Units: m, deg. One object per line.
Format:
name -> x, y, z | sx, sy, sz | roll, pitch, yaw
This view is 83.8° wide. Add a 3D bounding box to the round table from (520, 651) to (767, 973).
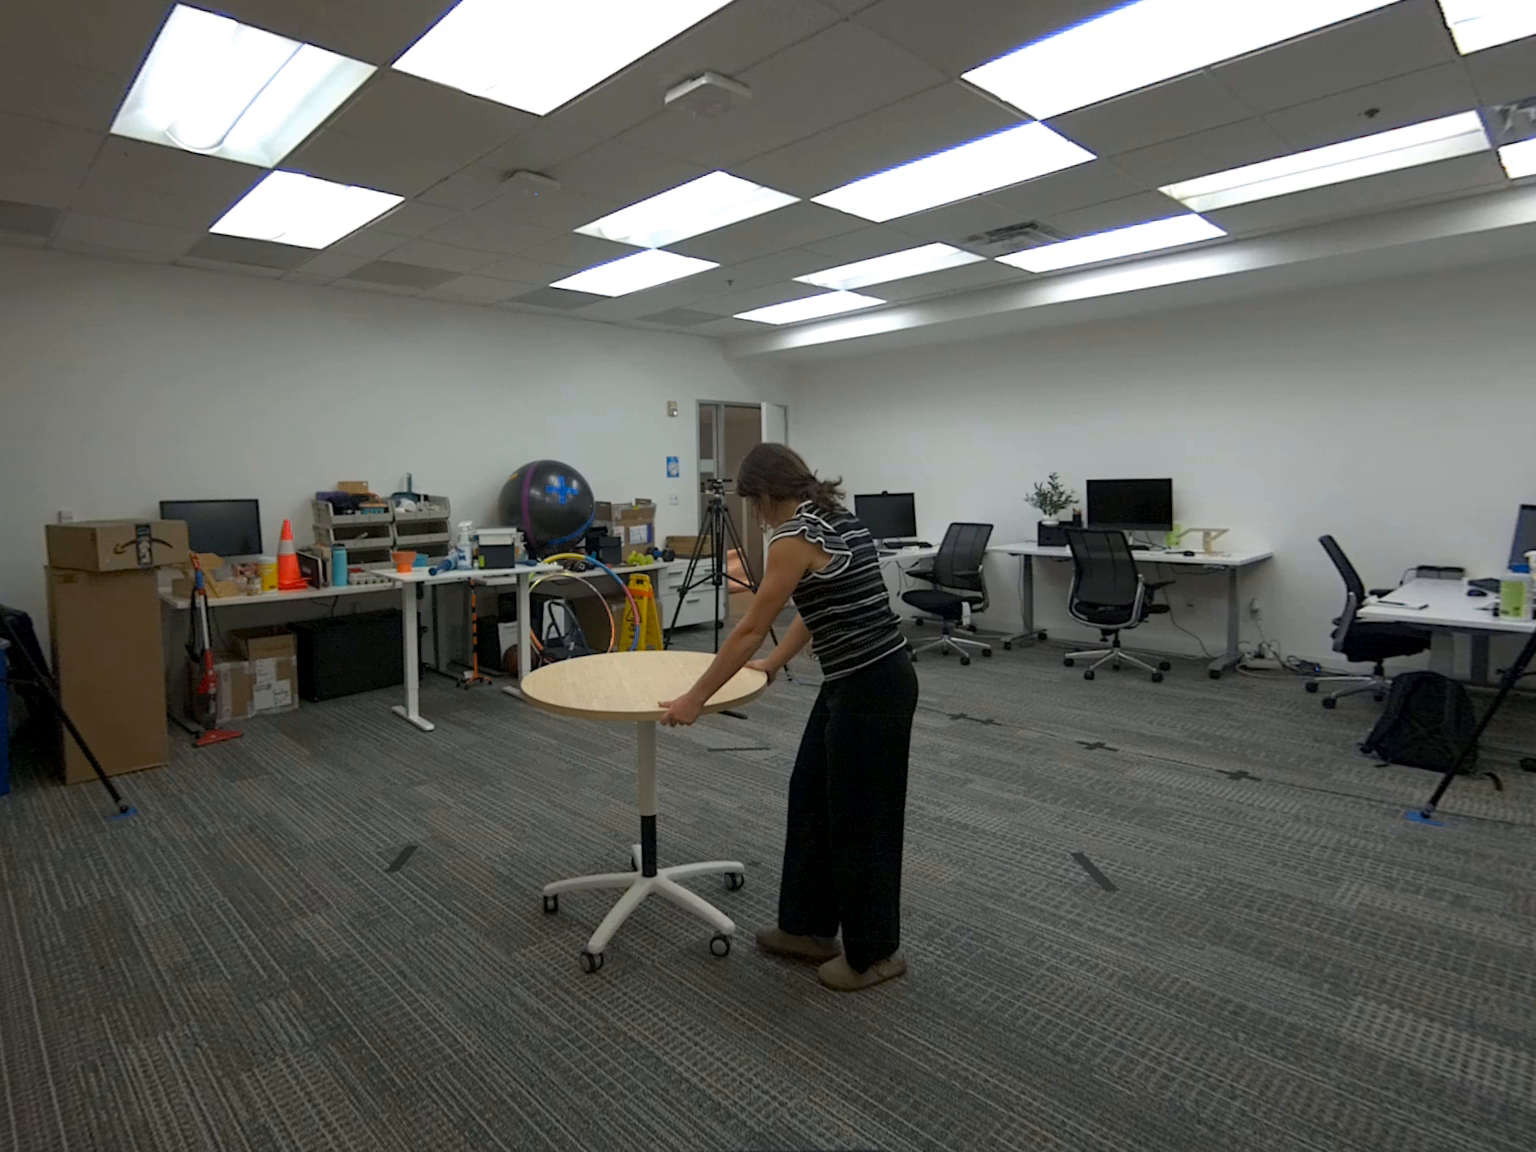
round table -> -0.381, 0.707, 2.725 | 0.763, 0.790, 0.768 | -1, 6, -2
